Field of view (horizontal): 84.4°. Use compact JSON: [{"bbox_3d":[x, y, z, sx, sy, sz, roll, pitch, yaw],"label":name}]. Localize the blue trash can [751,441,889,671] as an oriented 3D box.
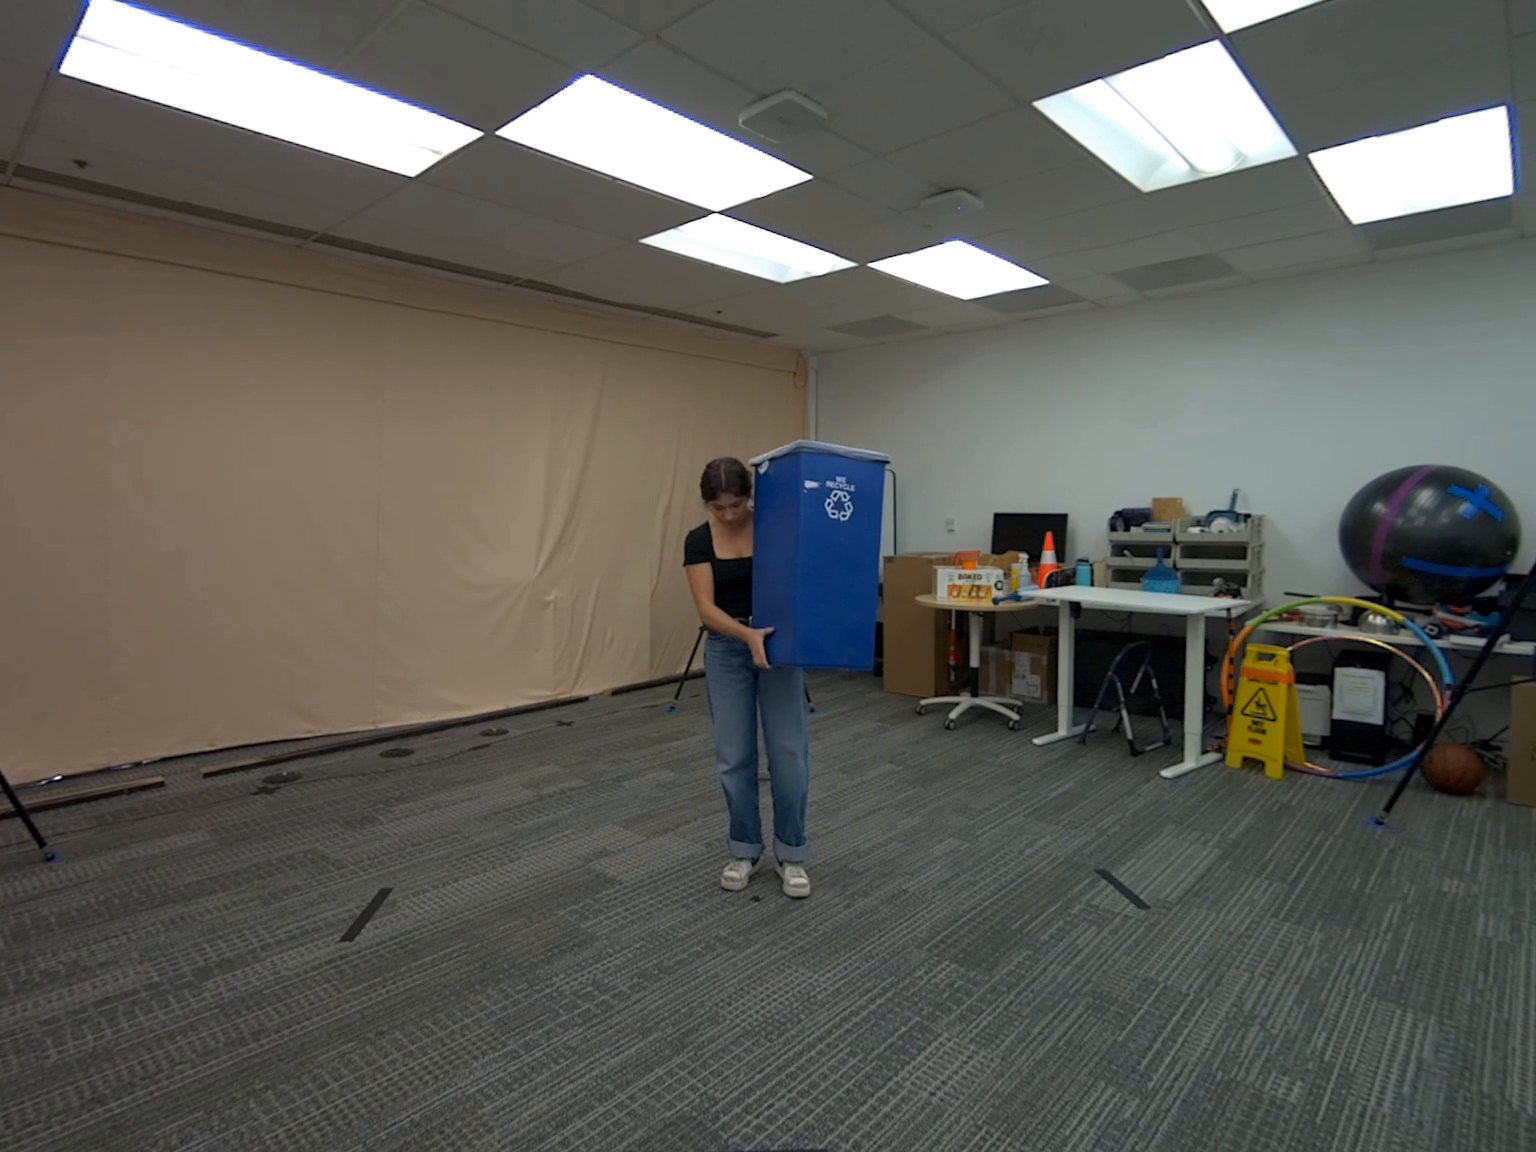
[{"bbox_3d":[0.173,-0.058,2.851,0.364,0.716,0.387,5,-7,-27],"label":"blue trash can"}]
